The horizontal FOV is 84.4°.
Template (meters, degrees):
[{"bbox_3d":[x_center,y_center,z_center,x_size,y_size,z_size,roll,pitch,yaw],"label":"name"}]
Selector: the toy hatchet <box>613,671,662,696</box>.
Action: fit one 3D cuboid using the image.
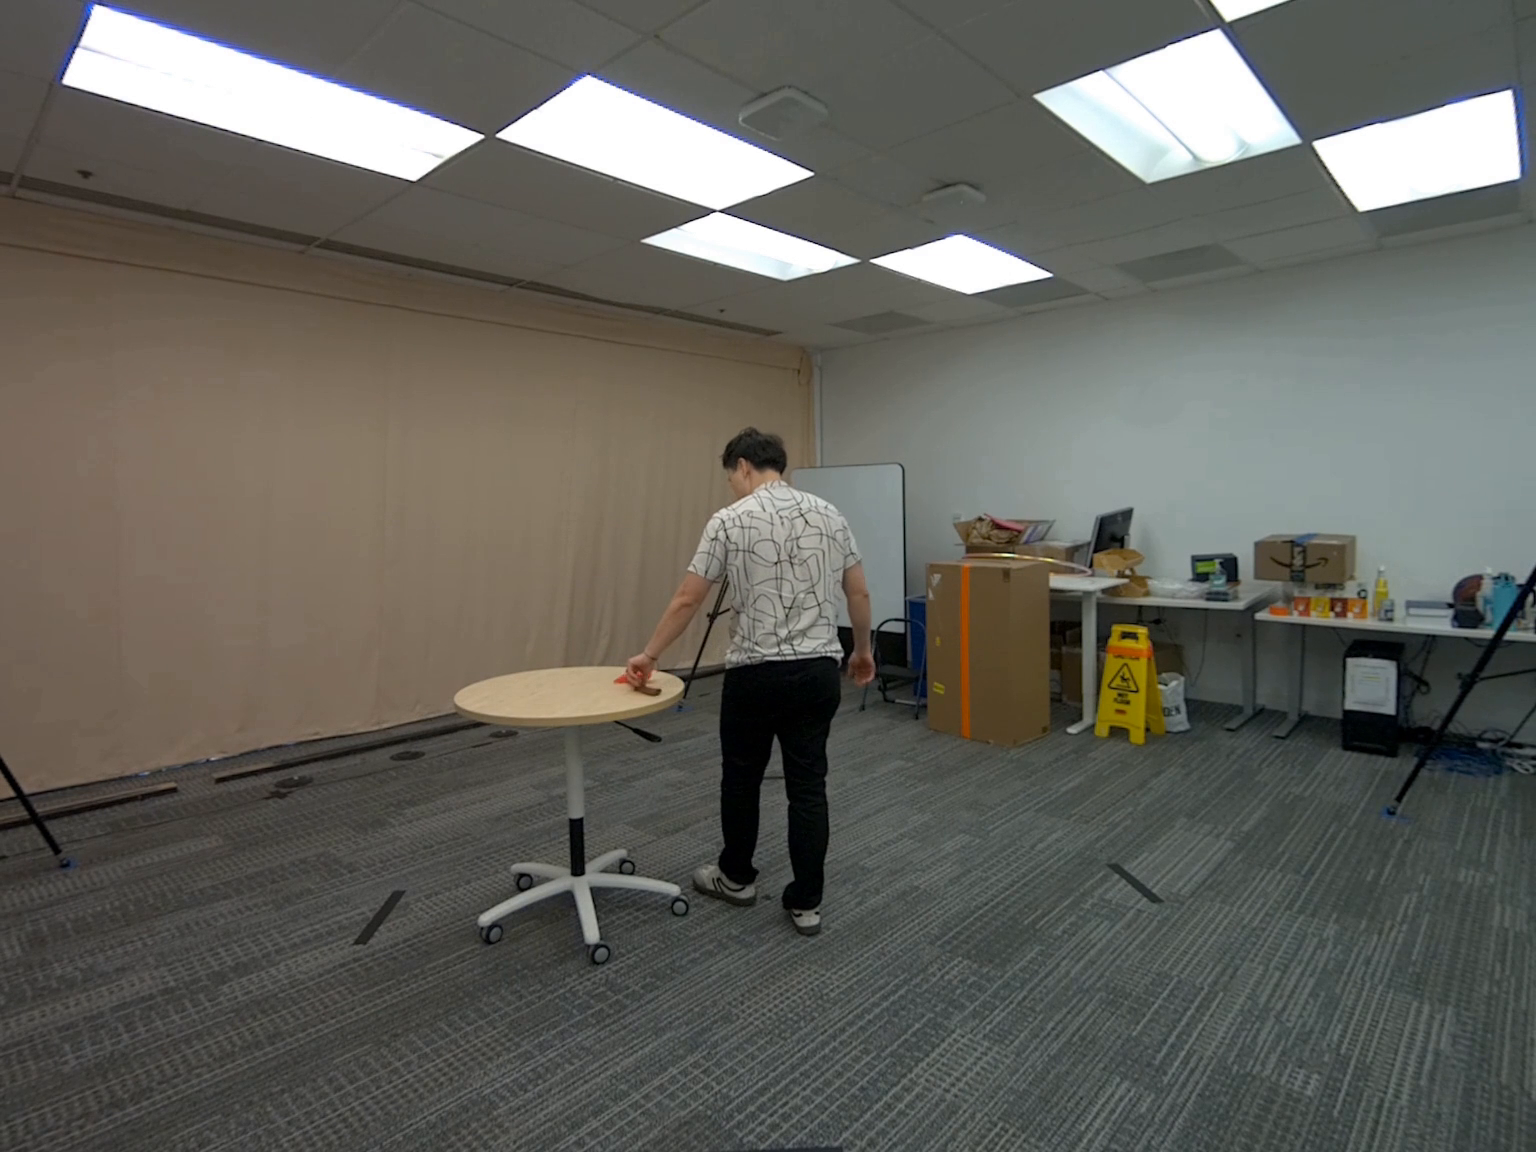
[{"bbox_3d":[-0.413,0.363,2.852,0.128,0.029,0.279,-16,13,-35],"label":"toy hatchet"}]
